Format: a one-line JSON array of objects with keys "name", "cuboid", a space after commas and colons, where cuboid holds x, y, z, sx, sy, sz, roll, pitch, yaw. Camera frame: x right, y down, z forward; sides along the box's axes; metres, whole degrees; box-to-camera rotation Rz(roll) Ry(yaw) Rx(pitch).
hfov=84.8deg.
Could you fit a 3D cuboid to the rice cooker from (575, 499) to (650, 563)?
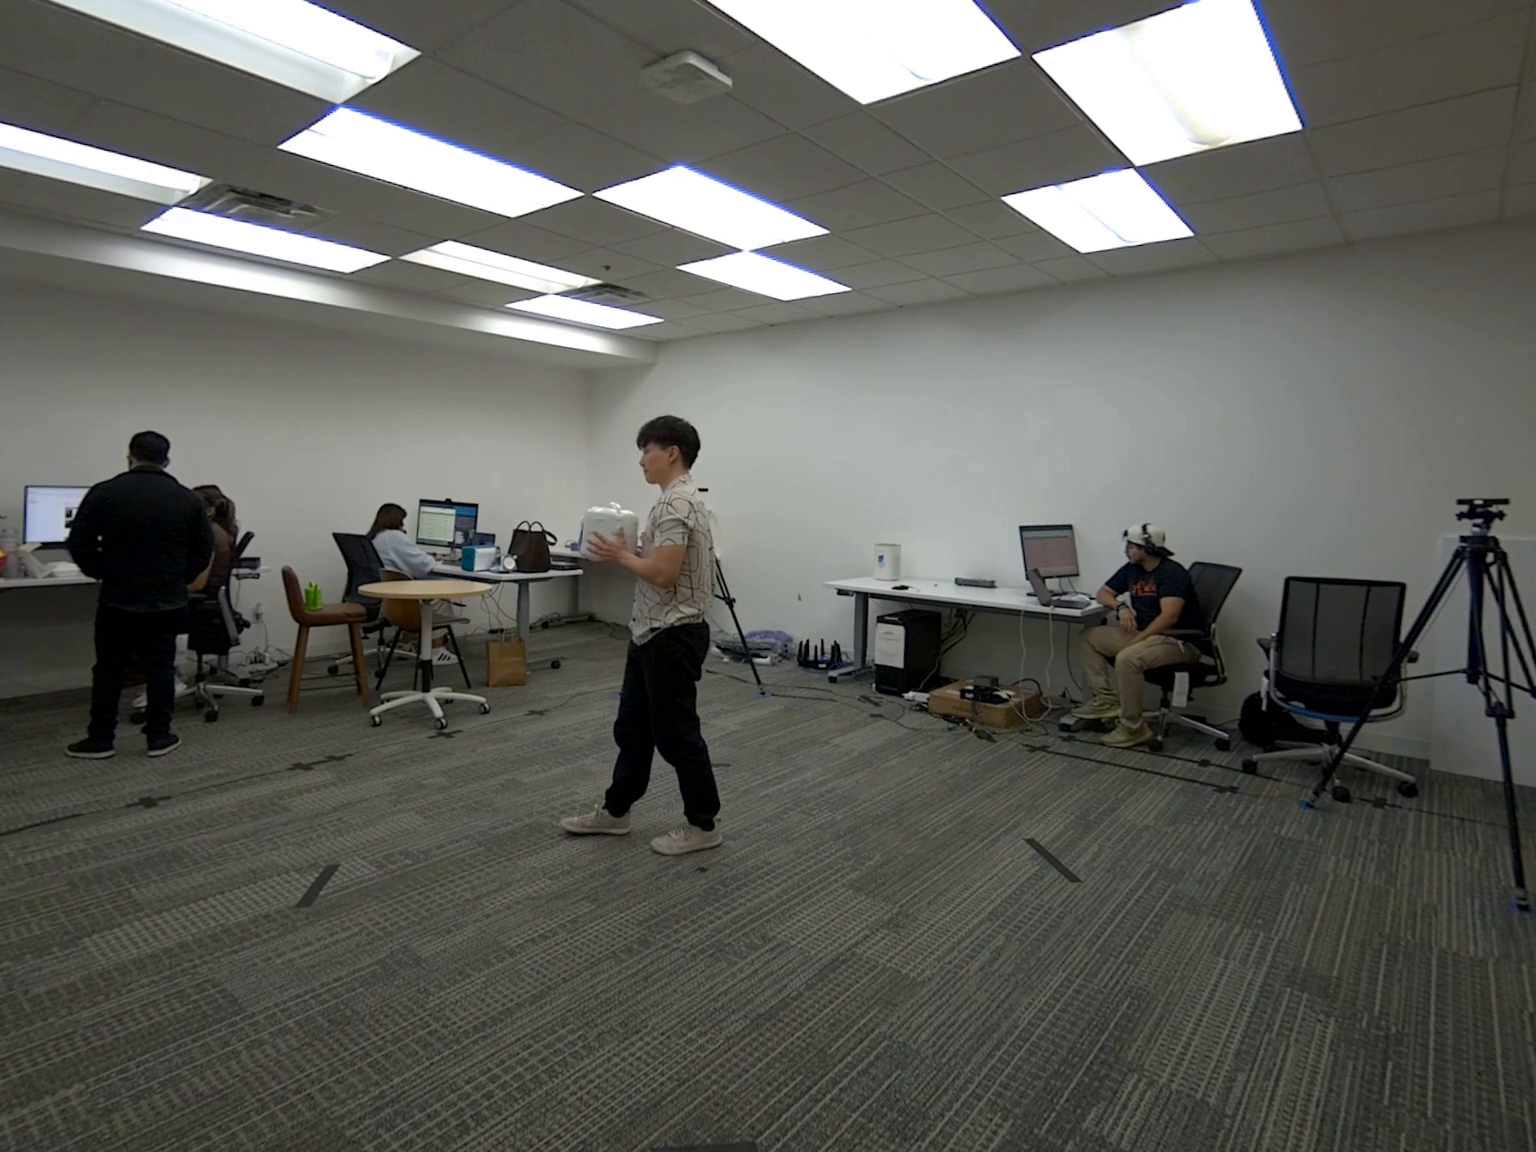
[{"name": "rice cooker", "cuboid": [-0.619, -0.176, 3.313, 0.212, 0.232, 0.226, 6, 2, -24]}]
